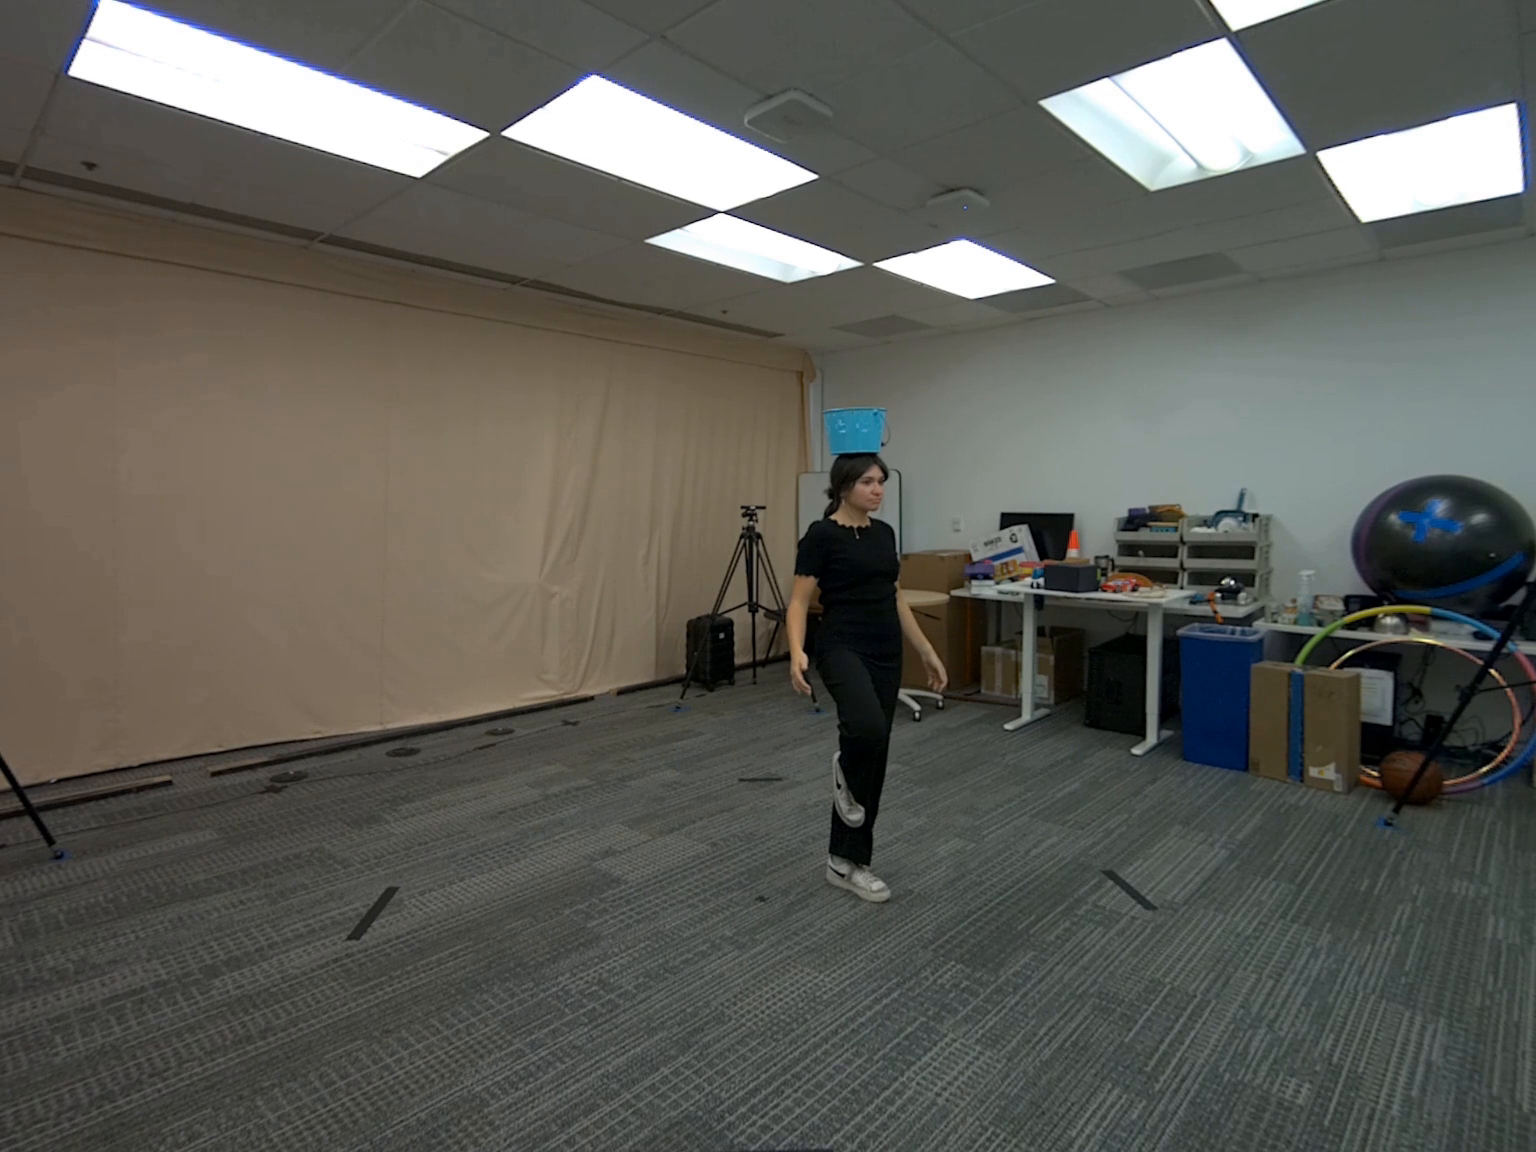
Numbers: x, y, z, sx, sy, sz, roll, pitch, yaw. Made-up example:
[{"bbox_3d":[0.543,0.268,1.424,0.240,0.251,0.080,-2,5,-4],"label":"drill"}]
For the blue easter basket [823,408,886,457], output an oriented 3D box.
[{"bbox_3d":[0.321,-0.519,3.033,0.243,0.155,0.245,-1,6,-2],"label":"blue easter basket"}]
